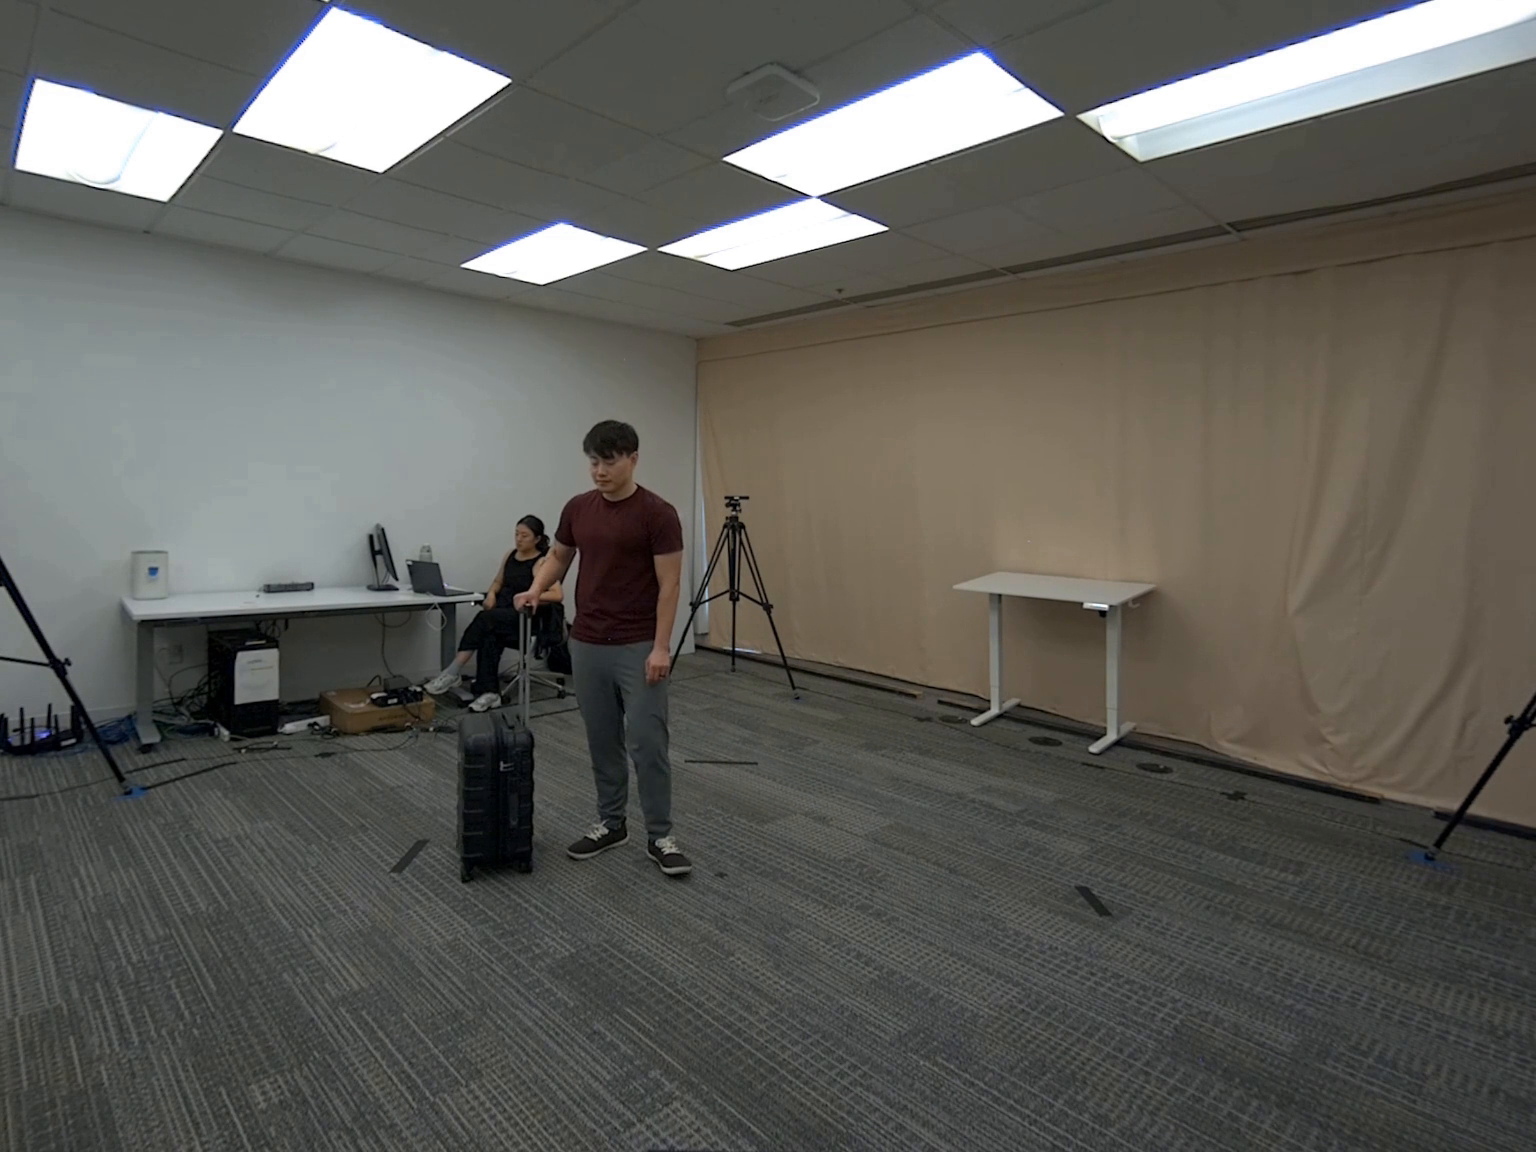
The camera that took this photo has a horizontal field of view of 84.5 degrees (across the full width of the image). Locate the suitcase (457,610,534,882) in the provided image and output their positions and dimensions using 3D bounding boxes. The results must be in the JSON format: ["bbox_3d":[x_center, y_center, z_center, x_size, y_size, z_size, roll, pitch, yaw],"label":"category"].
[{"bbox_3d":[-1.025,0.603,3.134,0.253,0.975,0.392,-1,6,-23],"label":"suitcase"}]
